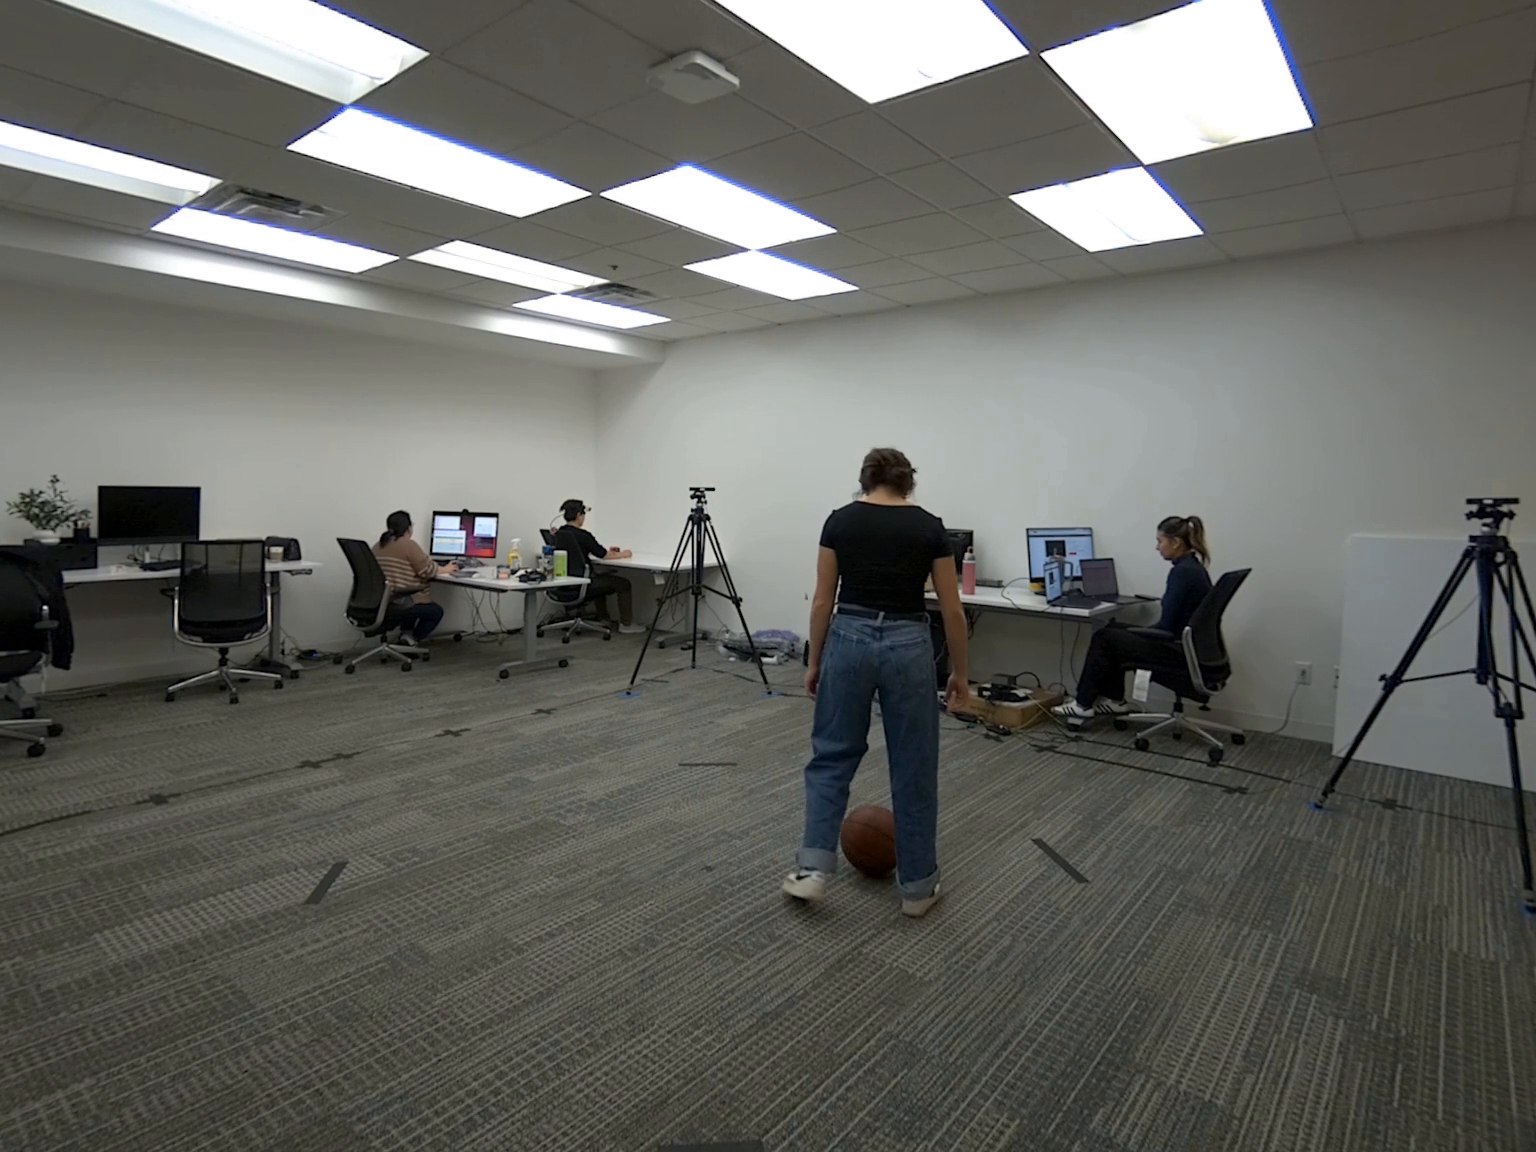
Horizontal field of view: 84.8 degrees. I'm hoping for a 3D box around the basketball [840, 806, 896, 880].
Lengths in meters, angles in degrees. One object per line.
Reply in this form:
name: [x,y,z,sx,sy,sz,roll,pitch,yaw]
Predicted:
basketball: [0.376,0.957,3.111,0.235,0.235,0.237,1,4,-2]
